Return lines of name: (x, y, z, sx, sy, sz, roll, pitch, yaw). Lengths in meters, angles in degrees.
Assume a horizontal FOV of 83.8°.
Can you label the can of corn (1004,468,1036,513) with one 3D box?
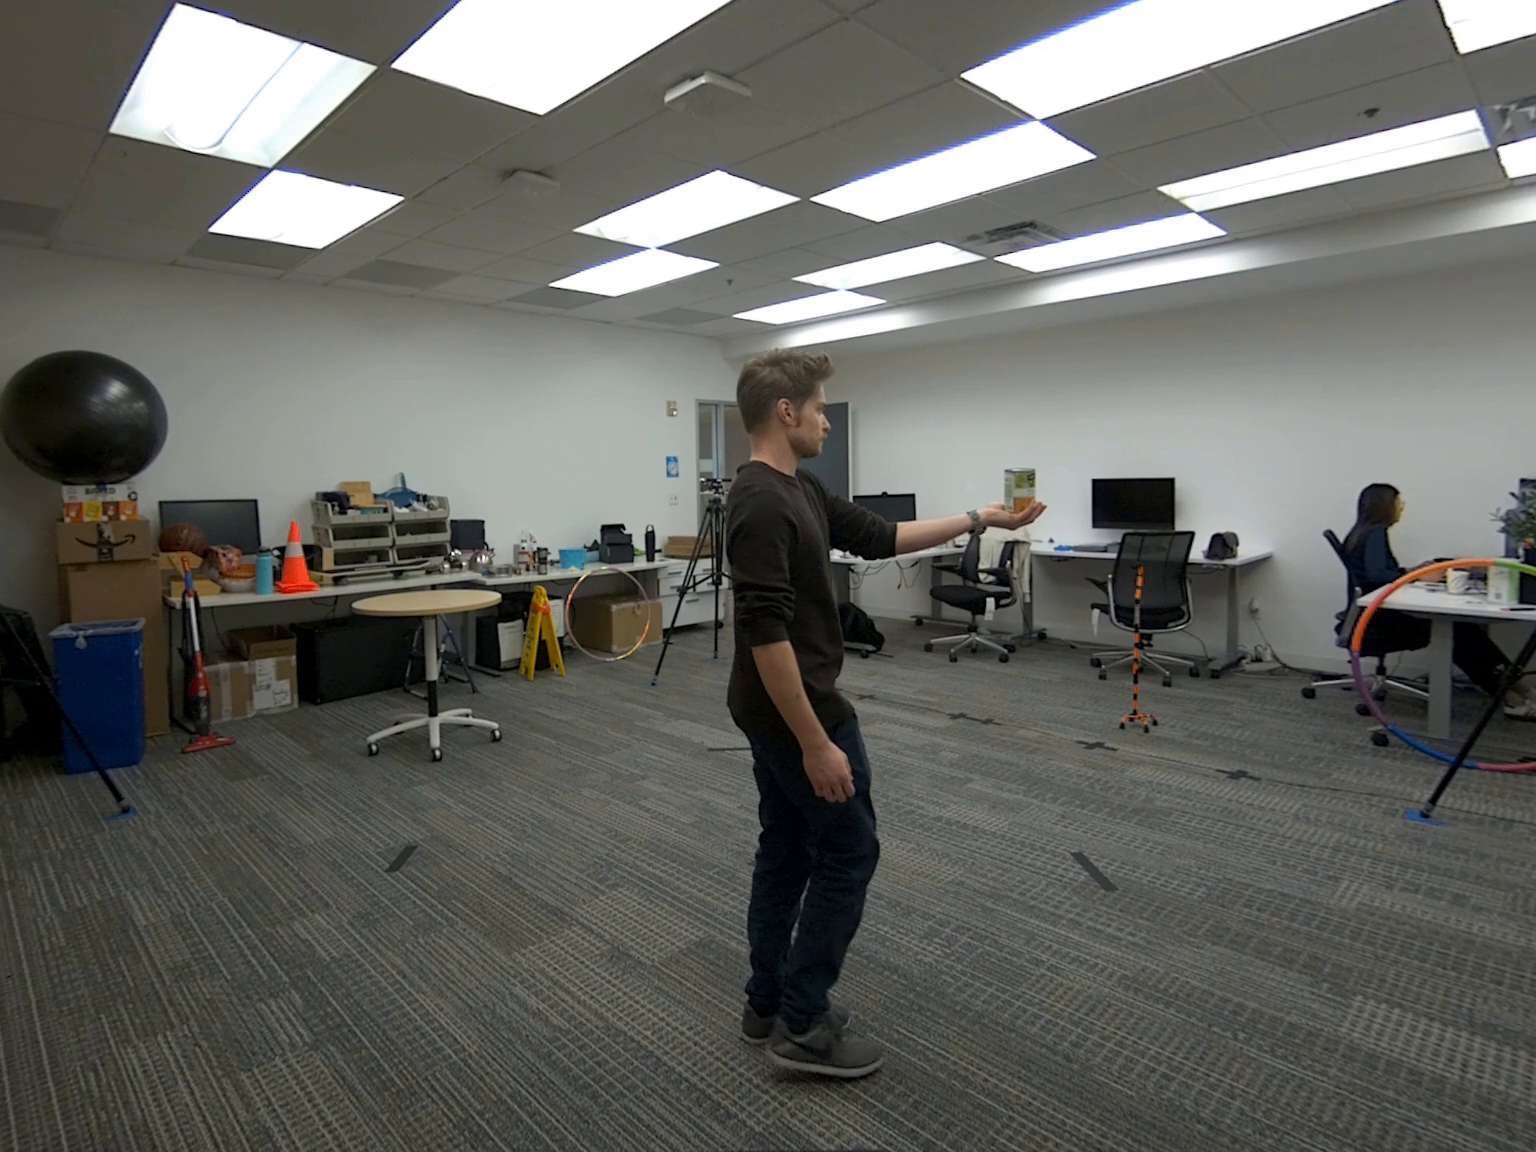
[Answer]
can of corn: (0.635, -0.212, 2.161, 0.074, 0.110, 0.075, -4, 7, -1)
